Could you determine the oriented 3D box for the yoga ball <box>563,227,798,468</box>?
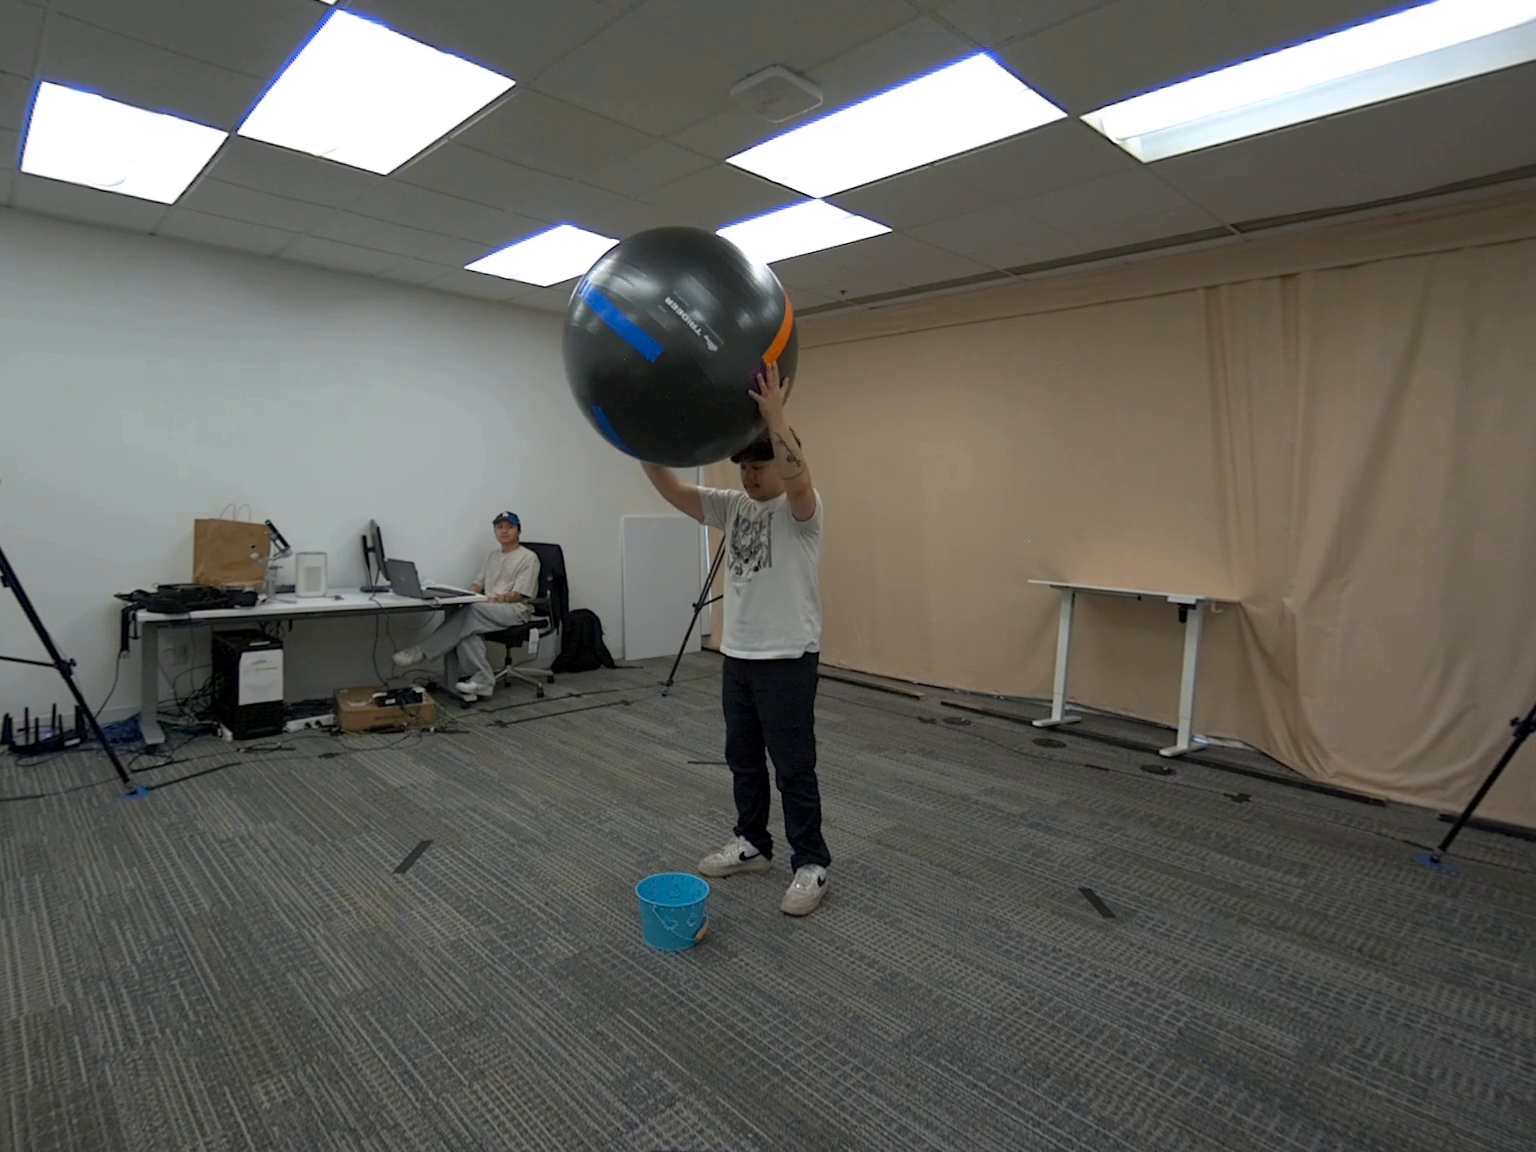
[{"bbox_3d":[-0.284,-0.720,2.719,0.757,0.756,0.760,1,4,-1],"label":"yoga ball"}]
